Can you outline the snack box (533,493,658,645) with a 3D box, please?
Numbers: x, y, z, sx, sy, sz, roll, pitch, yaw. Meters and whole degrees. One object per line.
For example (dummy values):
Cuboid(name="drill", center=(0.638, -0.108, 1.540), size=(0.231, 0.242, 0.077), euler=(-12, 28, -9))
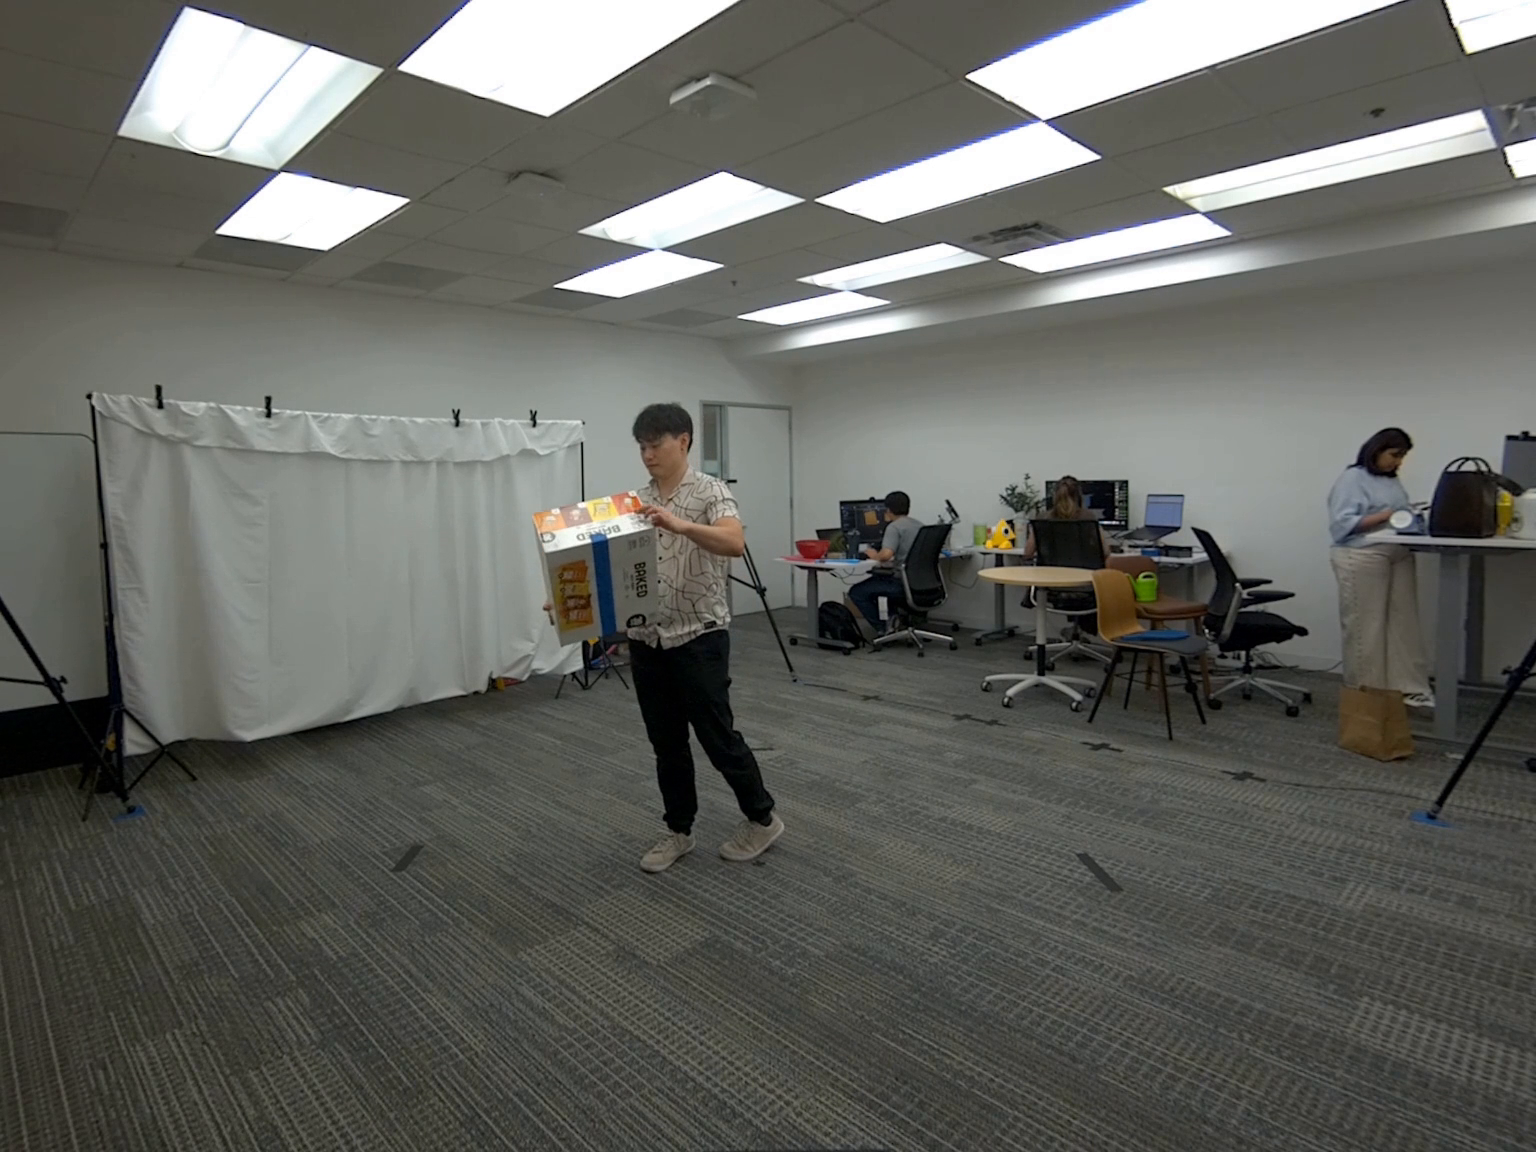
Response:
Cuboid(name="snack box", center=(-0.550, -0.021, 2.754), size=(0.336, 0.394, 0.214), euler=(-14, 43, -17))
